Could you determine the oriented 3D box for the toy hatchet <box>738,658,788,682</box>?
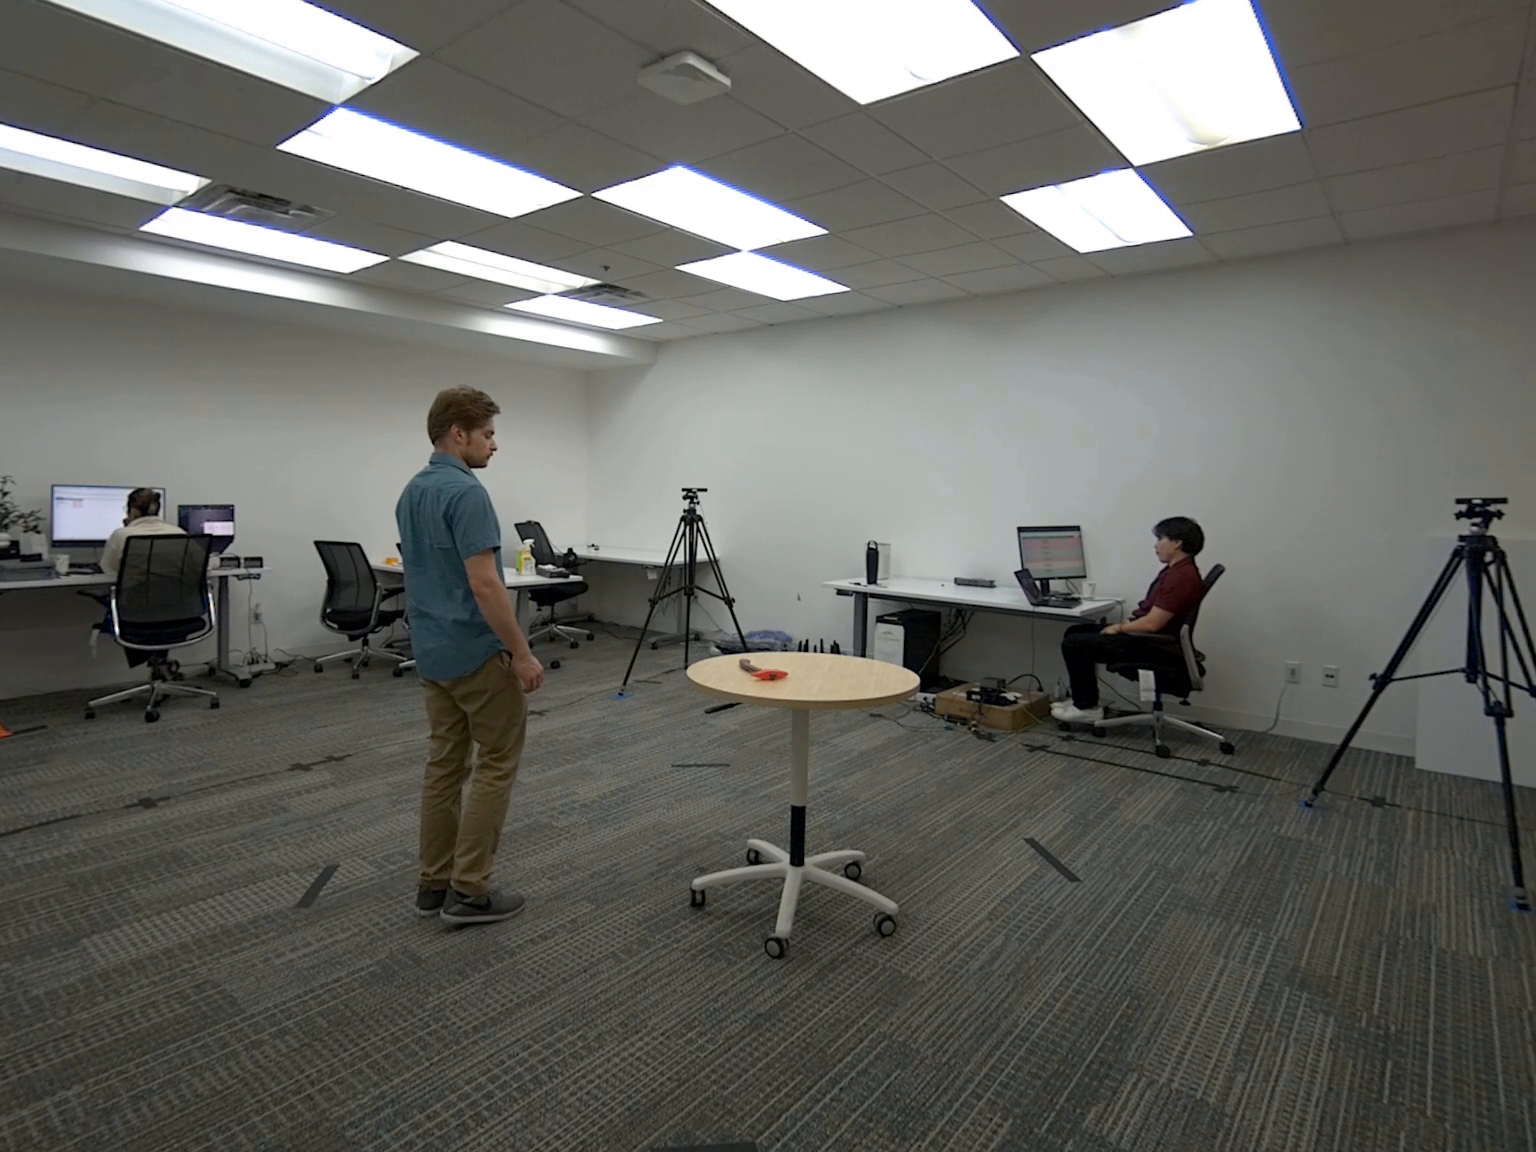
[{"bbox_3d":[-0.025,0.308,2.821,0.130,0.029,0.273,1,4,-11],"label":"toy hatchet"}]
